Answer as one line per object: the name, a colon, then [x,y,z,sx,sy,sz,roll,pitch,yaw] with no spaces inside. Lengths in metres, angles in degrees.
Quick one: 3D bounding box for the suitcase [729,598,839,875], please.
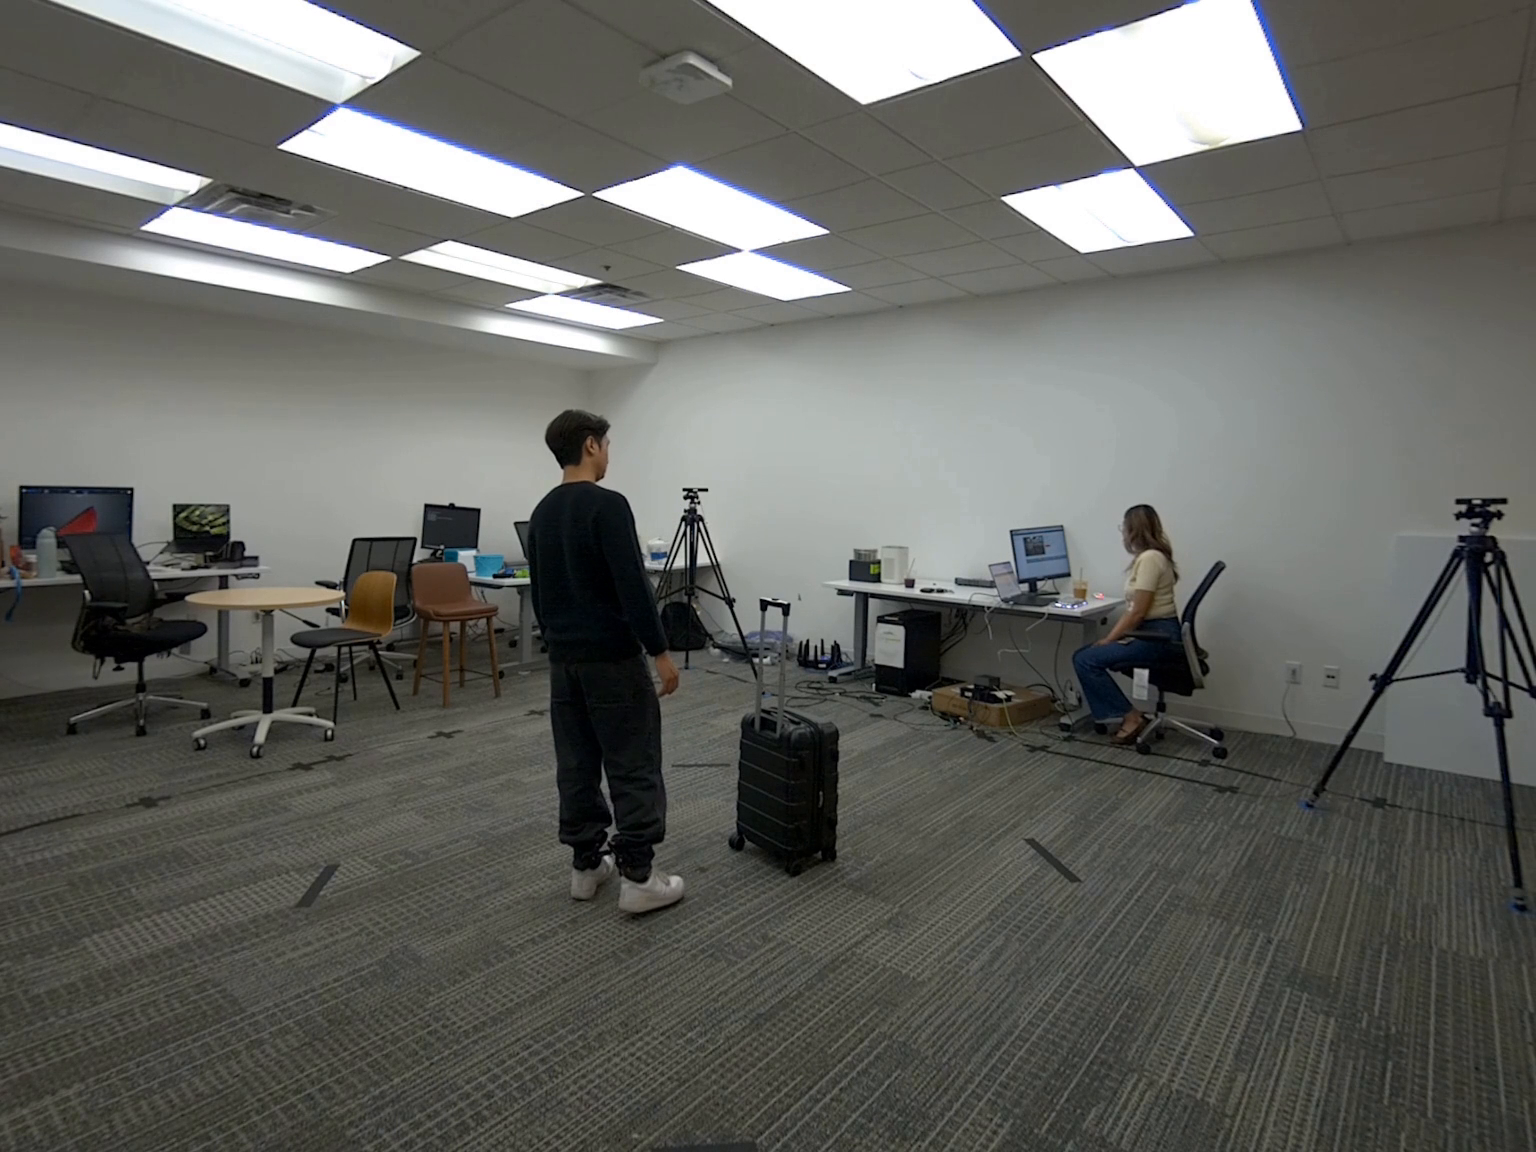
suitcase: [0.079,0.585,3.242,0.249,0.976,0.397,2,3,-37]
